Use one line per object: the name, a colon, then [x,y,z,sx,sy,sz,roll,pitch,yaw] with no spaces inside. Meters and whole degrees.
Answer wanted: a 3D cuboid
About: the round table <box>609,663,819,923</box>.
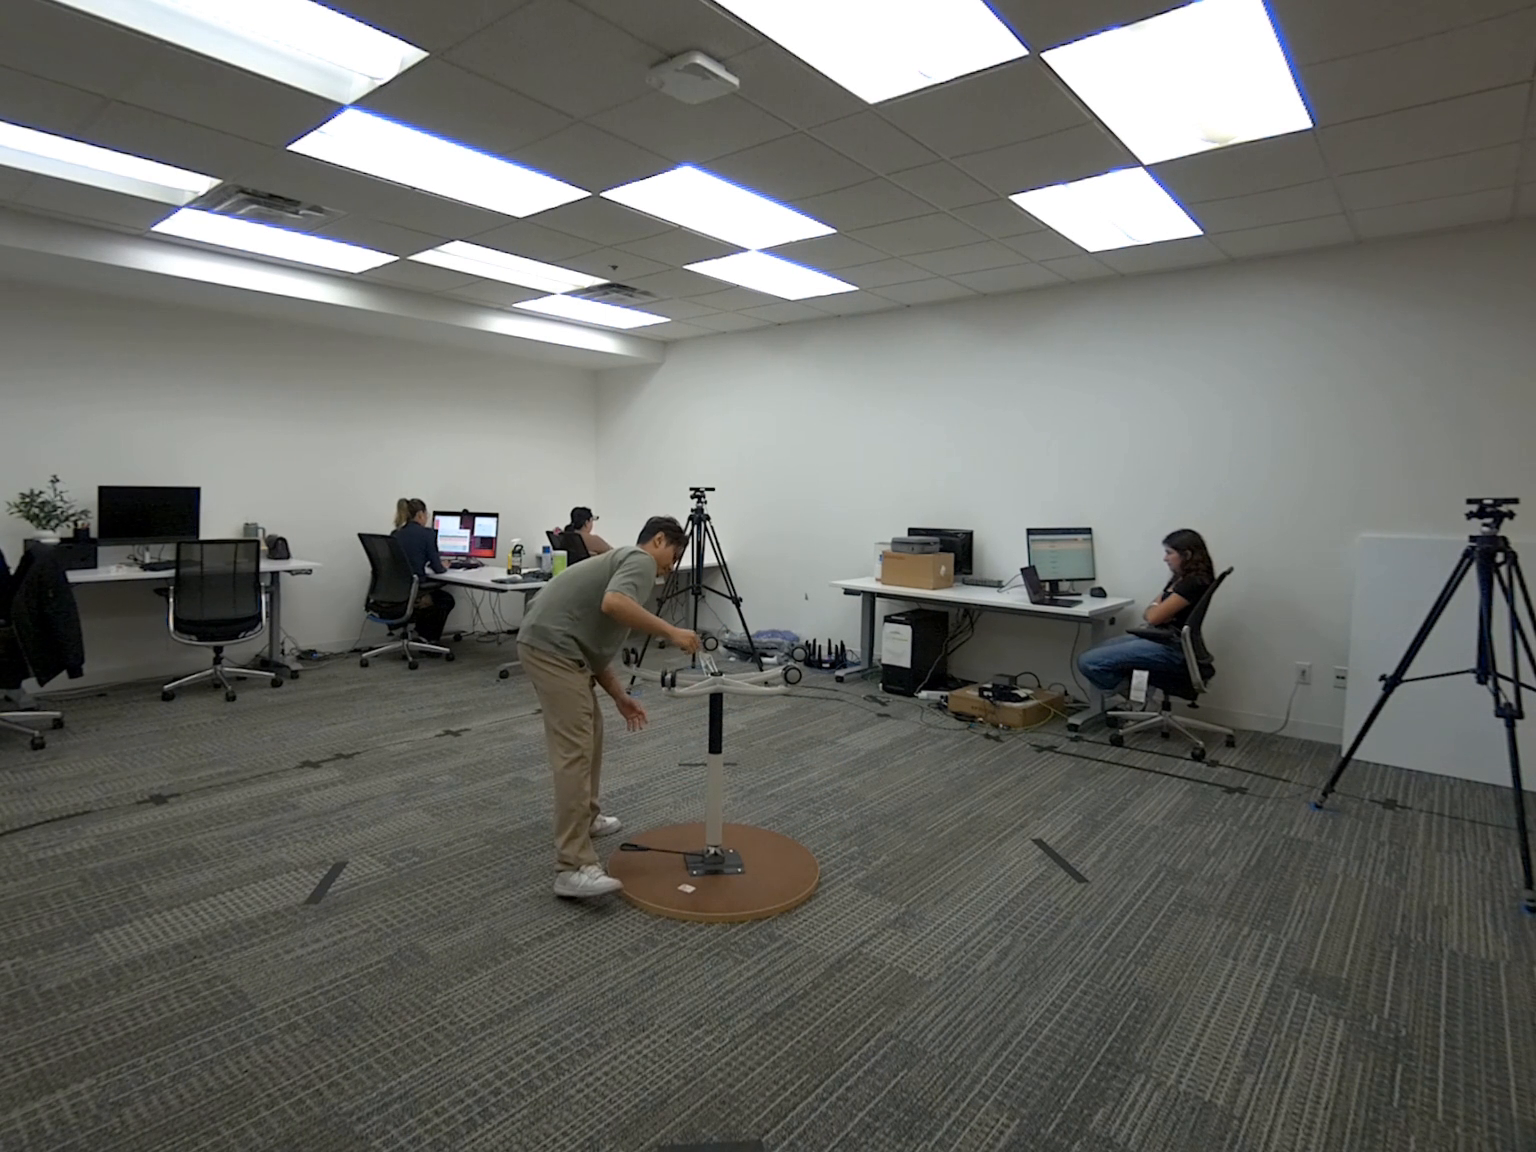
round table: [-0.194,0.668,3.066,0.784,0.784,0.789,1,4,-2]
